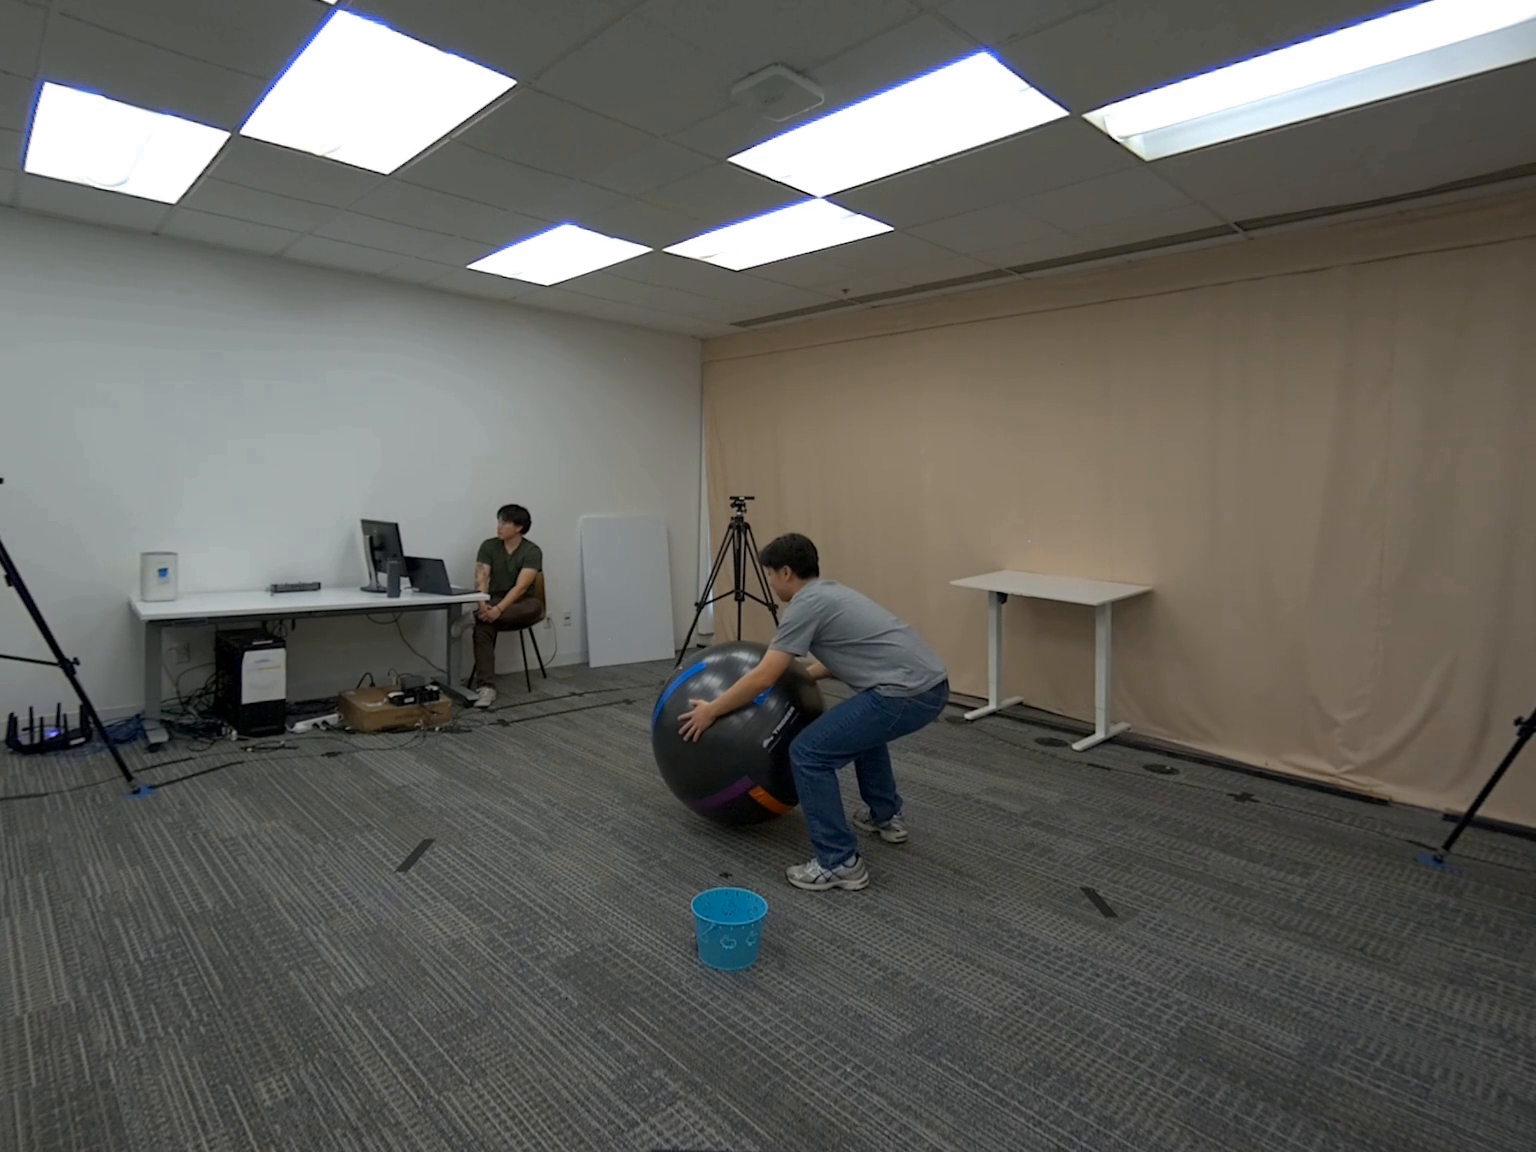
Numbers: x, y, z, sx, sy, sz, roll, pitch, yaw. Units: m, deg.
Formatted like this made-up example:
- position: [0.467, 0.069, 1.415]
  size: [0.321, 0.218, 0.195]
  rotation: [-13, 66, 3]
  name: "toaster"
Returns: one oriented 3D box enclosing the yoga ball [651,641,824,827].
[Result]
- position: [-0.127, 0.653, 3.562]
  size: [0.757, 0.756, 0.761]
  rotation: [1, 4, -1]
  name: "yoga ball"
